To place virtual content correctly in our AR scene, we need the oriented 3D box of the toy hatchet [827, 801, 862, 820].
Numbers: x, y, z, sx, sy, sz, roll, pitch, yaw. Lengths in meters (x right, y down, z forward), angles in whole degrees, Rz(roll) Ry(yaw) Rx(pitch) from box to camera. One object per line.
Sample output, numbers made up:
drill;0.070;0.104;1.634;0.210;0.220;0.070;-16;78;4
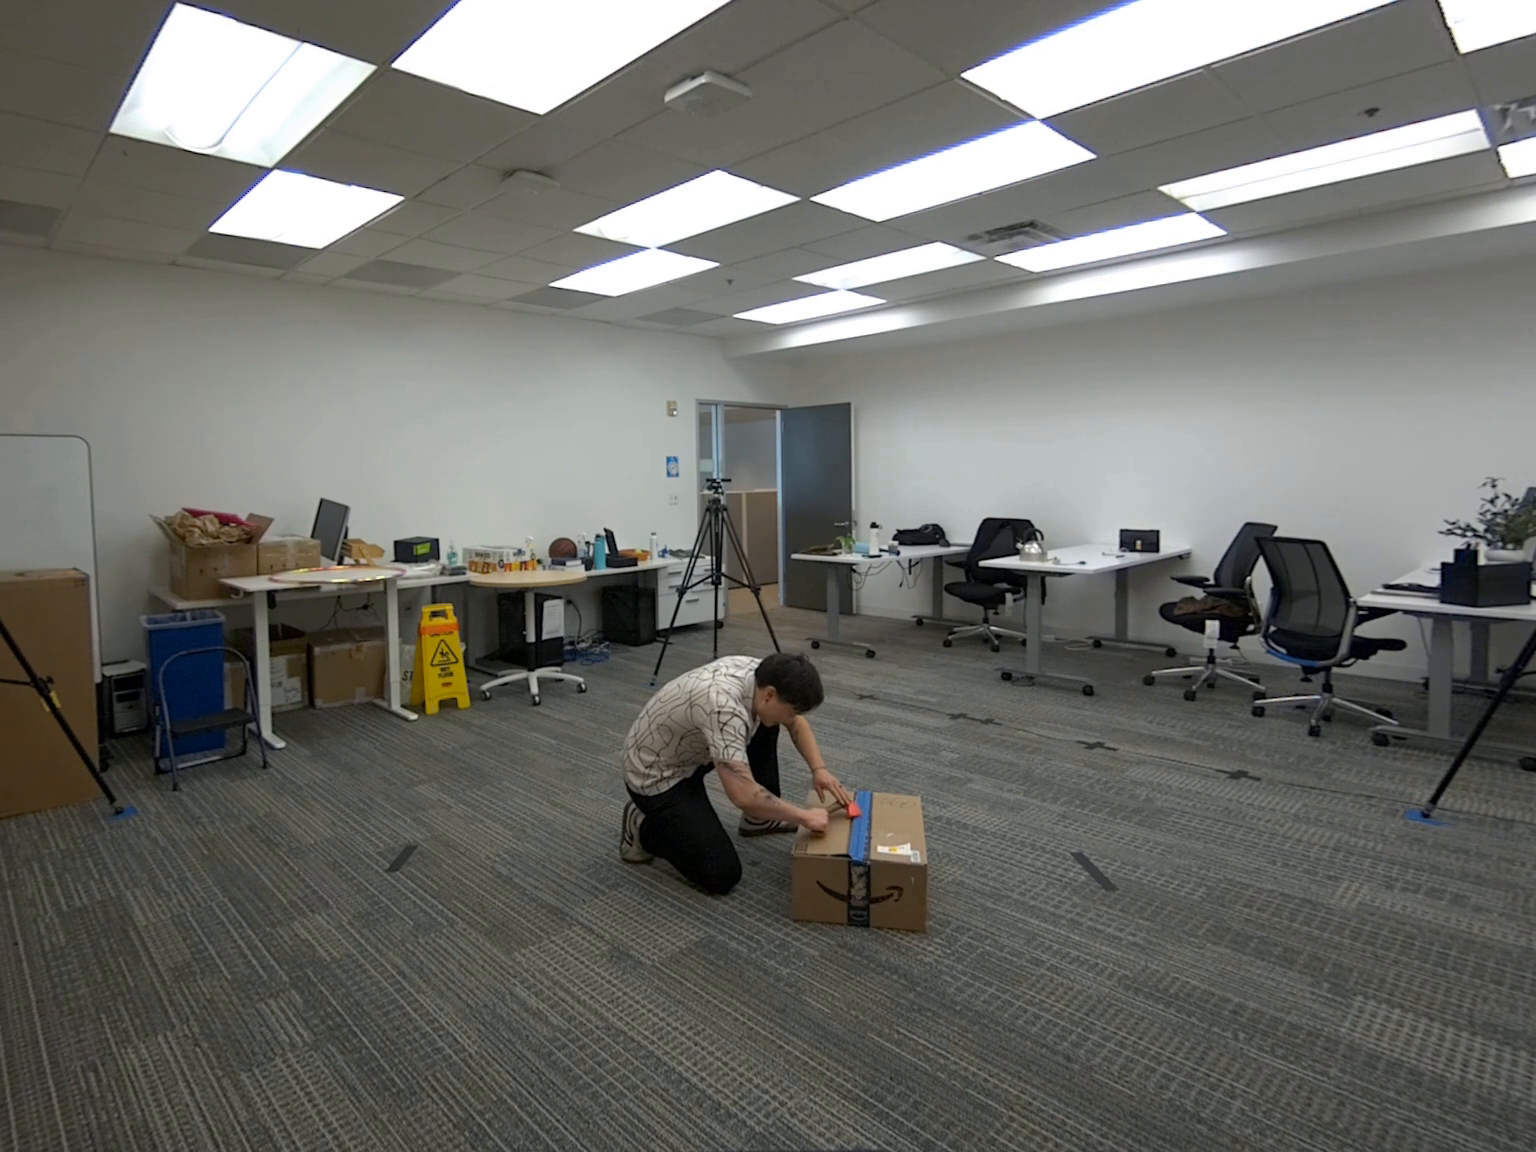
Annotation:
toy hatchet;0.226;0.818;2.899;0.134;0.029;0.267;23;24;20
